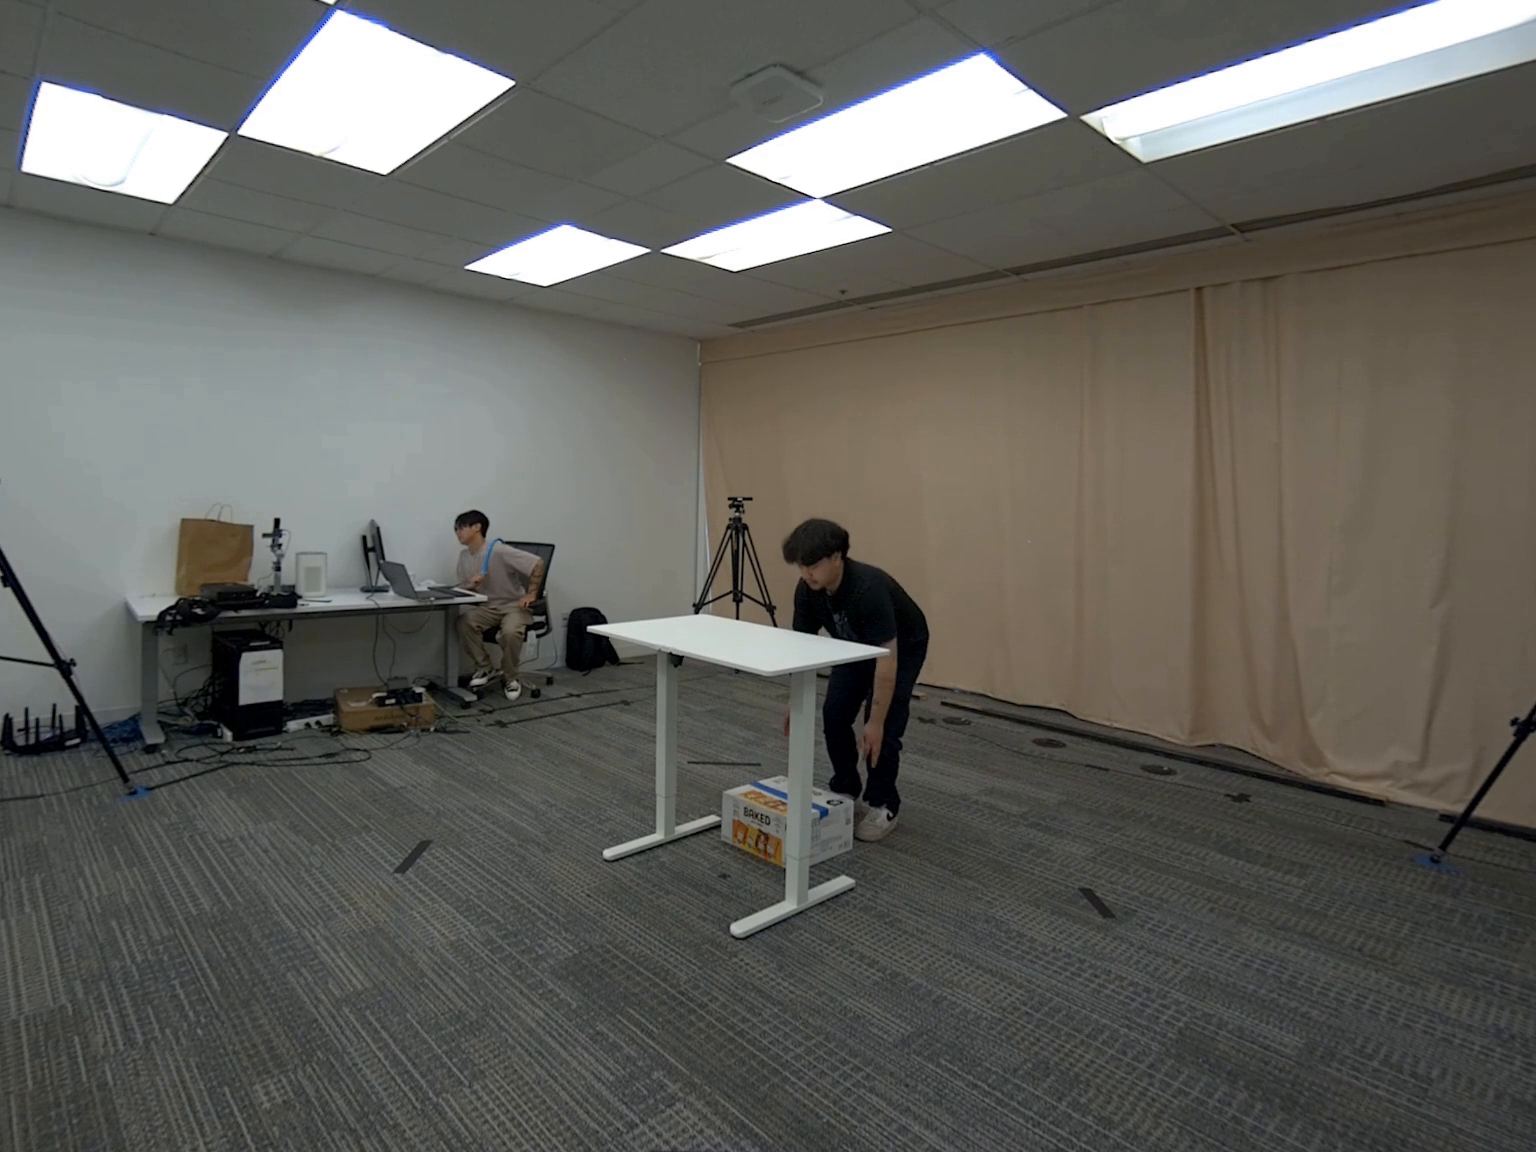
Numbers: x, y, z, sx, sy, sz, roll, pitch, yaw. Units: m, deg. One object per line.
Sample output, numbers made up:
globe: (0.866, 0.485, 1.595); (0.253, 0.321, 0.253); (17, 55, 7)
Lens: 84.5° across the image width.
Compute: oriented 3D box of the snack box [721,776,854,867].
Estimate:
snack box: (0.070, 0.988, 3.387); (0.332, 0.205, 0.415); (-3, 6, -44)
